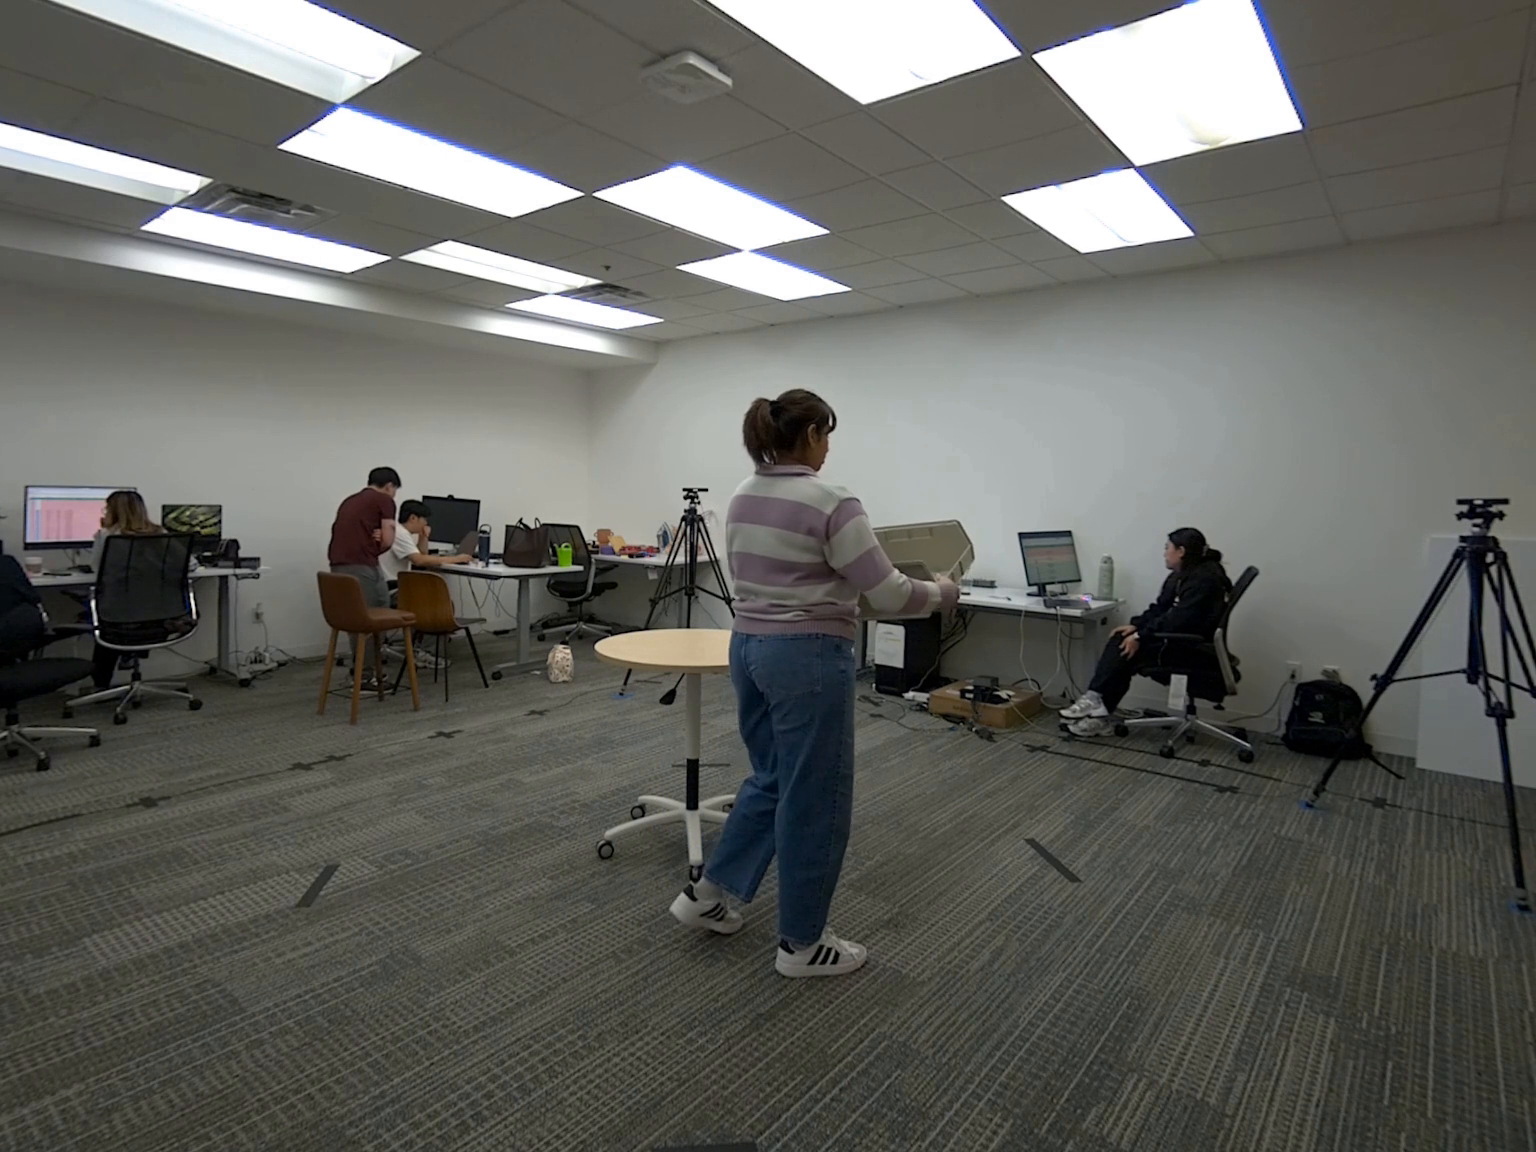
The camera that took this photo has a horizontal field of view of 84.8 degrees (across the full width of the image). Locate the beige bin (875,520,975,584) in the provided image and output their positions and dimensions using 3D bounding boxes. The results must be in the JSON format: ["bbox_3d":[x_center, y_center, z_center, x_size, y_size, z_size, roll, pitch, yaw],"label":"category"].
[{"bbox_3d":[0.414,-0.020,2.717,0.387,0.186,0.418,-7,17,30],"label":"beige bin"}]
